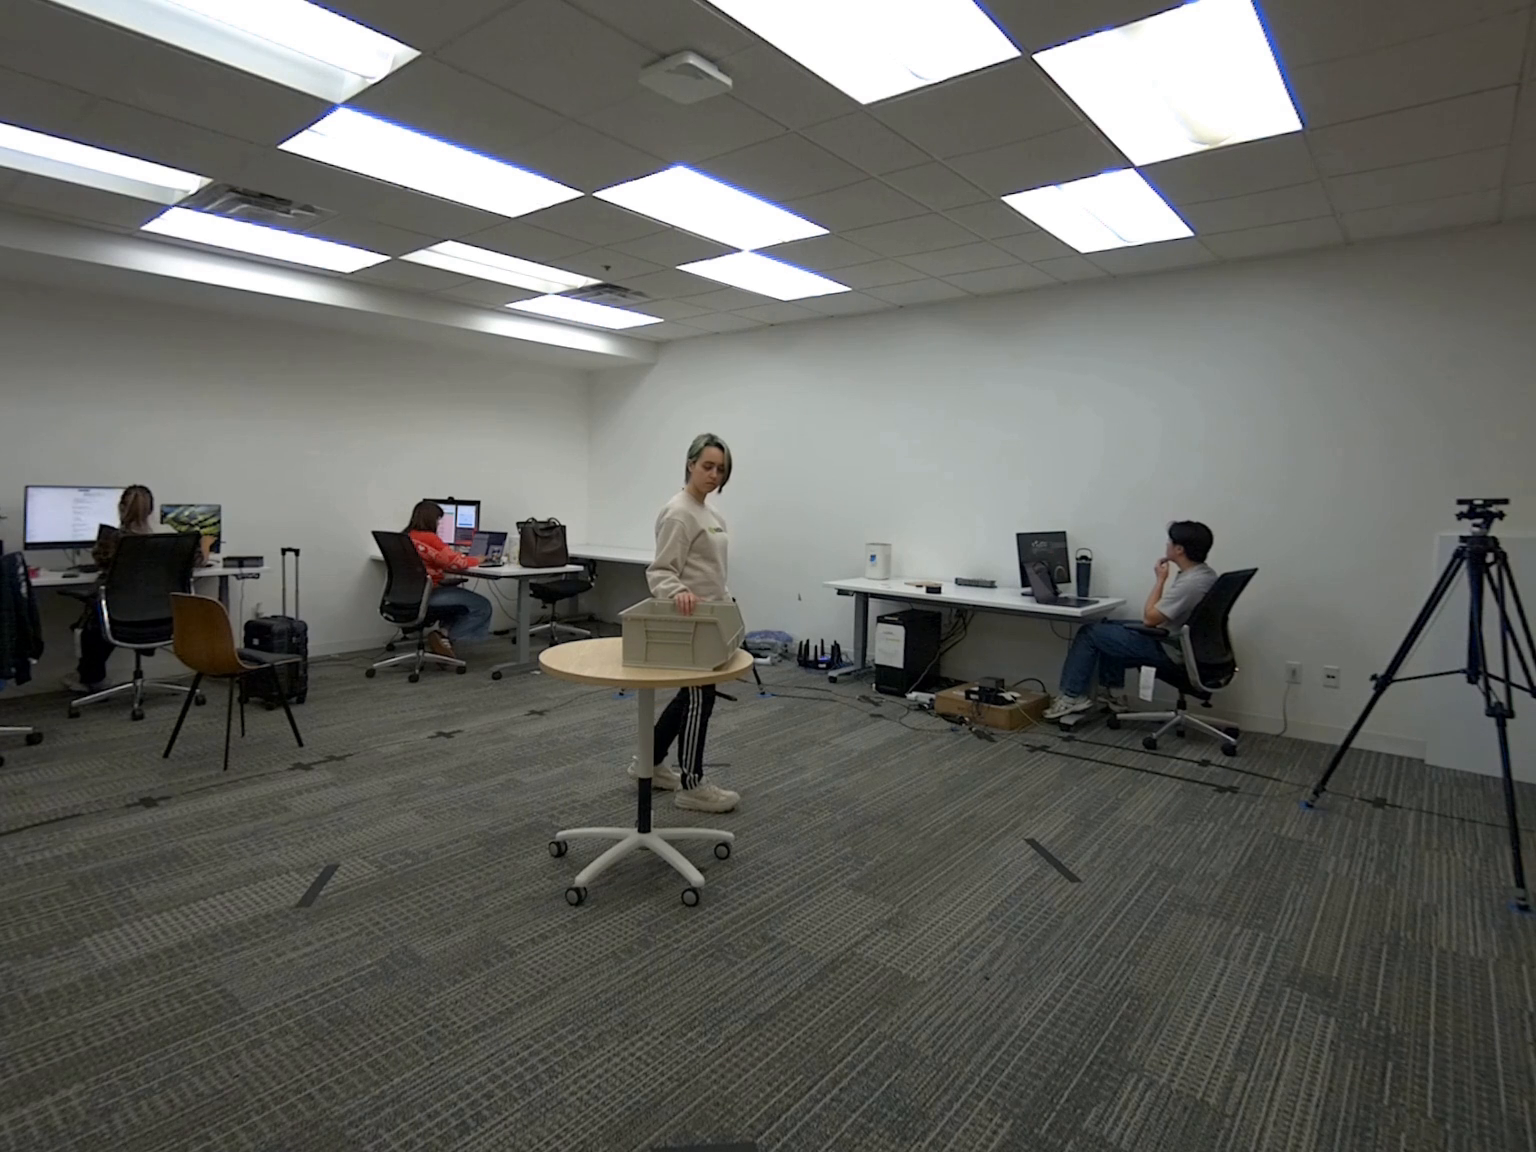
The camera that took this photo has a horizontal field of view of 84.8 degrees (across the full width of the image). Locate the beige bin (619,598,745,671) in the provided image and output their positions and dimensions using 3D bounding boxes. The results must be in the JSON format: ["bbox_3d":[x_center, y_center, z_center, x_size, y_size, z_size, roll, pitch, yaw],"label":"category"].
[{"bbox_3d":[-0.312,0.195,3.042,0.381,0.188,0.421,0,6,7],"label":"beige bin"}]
